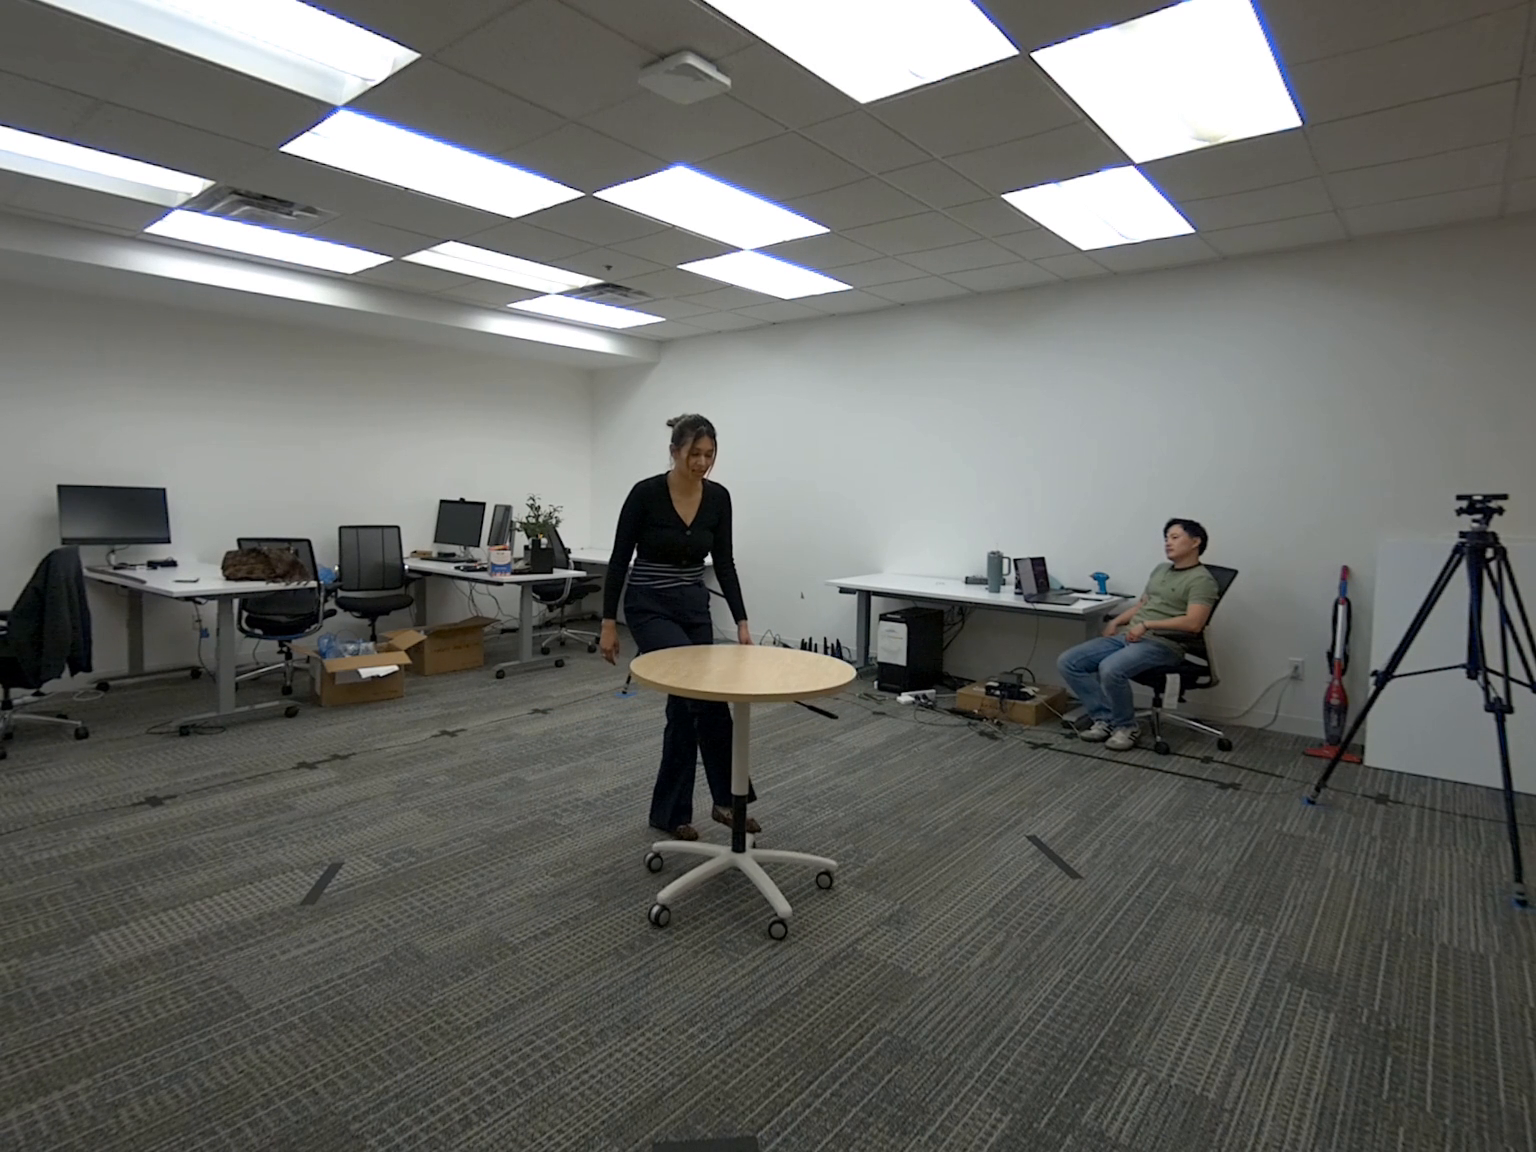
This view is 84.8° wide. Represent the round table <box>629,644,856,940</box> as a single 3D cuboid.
[{"bbox_3d":[-0.109,0.697,2.917,0.763,0.791,0.768,2,5,-2],"label":"round table"}]
